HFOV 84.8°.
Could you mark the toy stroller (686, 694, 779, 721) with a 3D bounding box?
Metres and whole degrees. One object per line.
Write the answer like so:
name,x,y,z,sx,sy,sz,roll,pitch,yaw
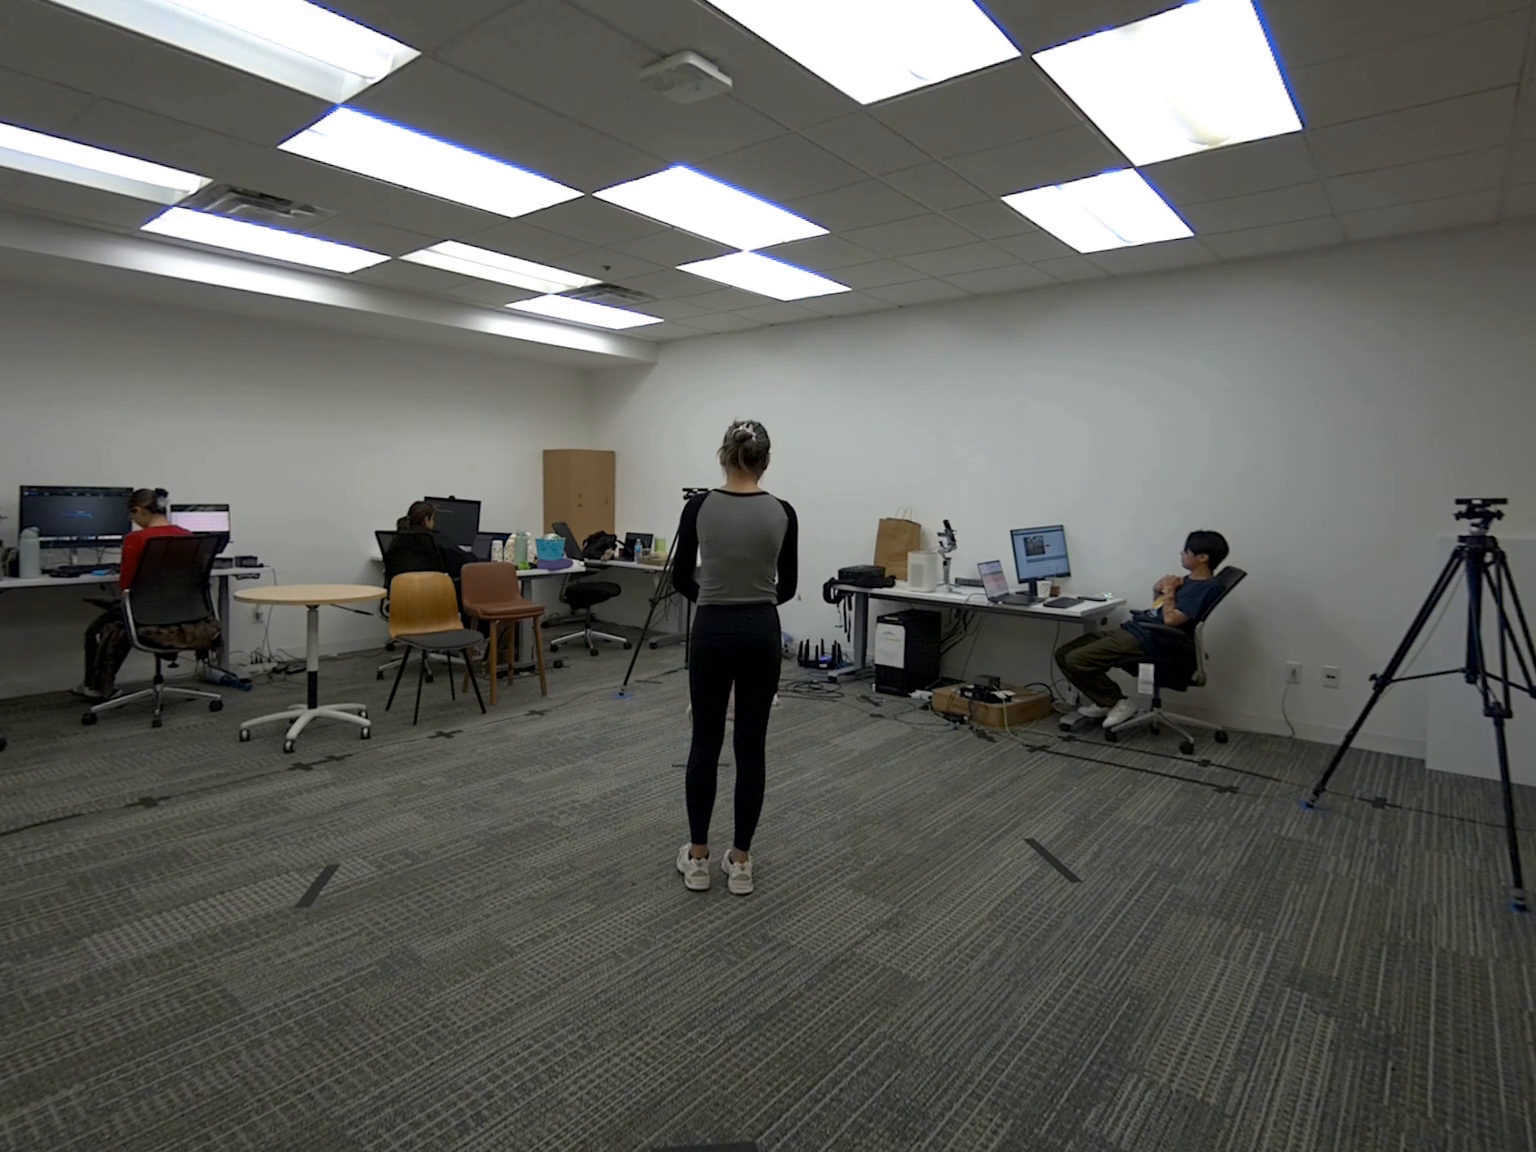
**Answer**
toy stroller,-0.094,0.415,3.379,0.343,0.532,0.281,25,10,3
